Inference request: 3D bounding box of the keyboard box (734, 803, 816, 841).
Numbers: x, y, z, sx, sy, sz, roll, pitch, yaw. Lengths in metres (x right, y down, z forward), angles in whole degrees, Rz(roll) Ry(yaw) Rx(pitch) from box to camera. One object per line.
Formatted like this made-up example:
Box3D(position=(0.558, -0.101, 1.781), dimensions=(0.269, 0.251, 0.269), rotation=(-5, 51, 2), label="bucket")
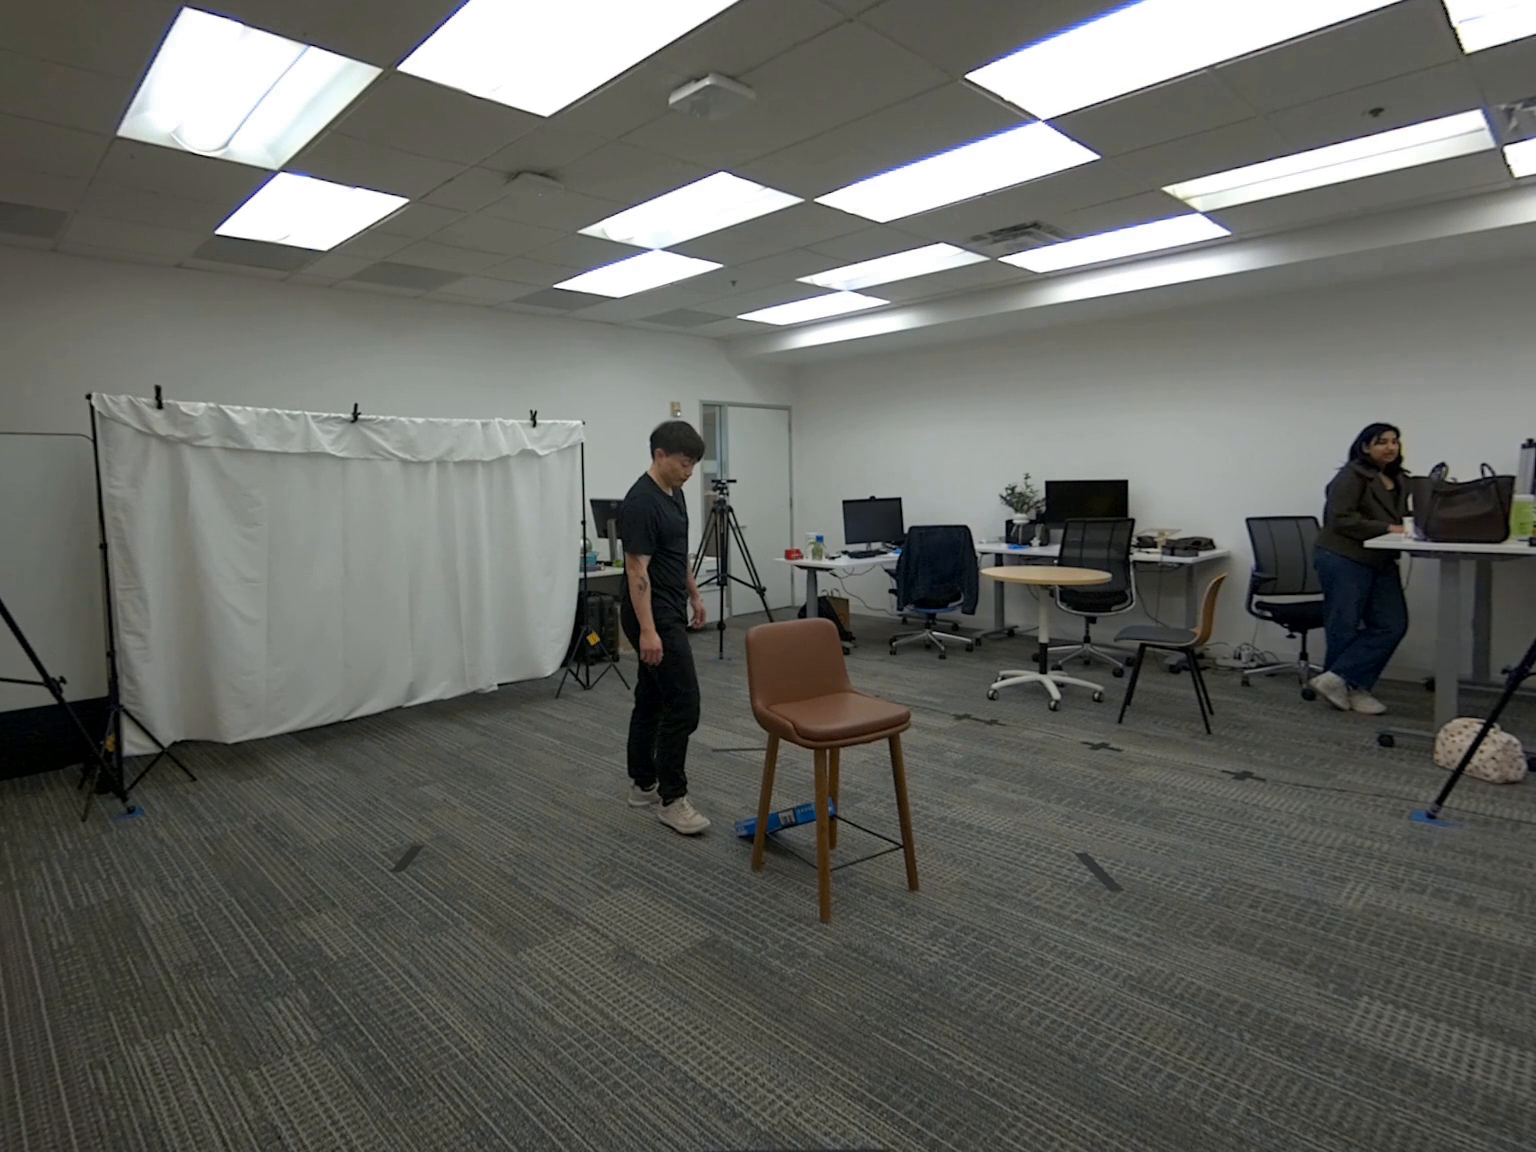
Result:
Box3D(position=(0.052, 0.918, 3.225), dimensions=(0.171, 0.060, 0.440), rotation=(-4, -18, -34), label="keyboard box")
